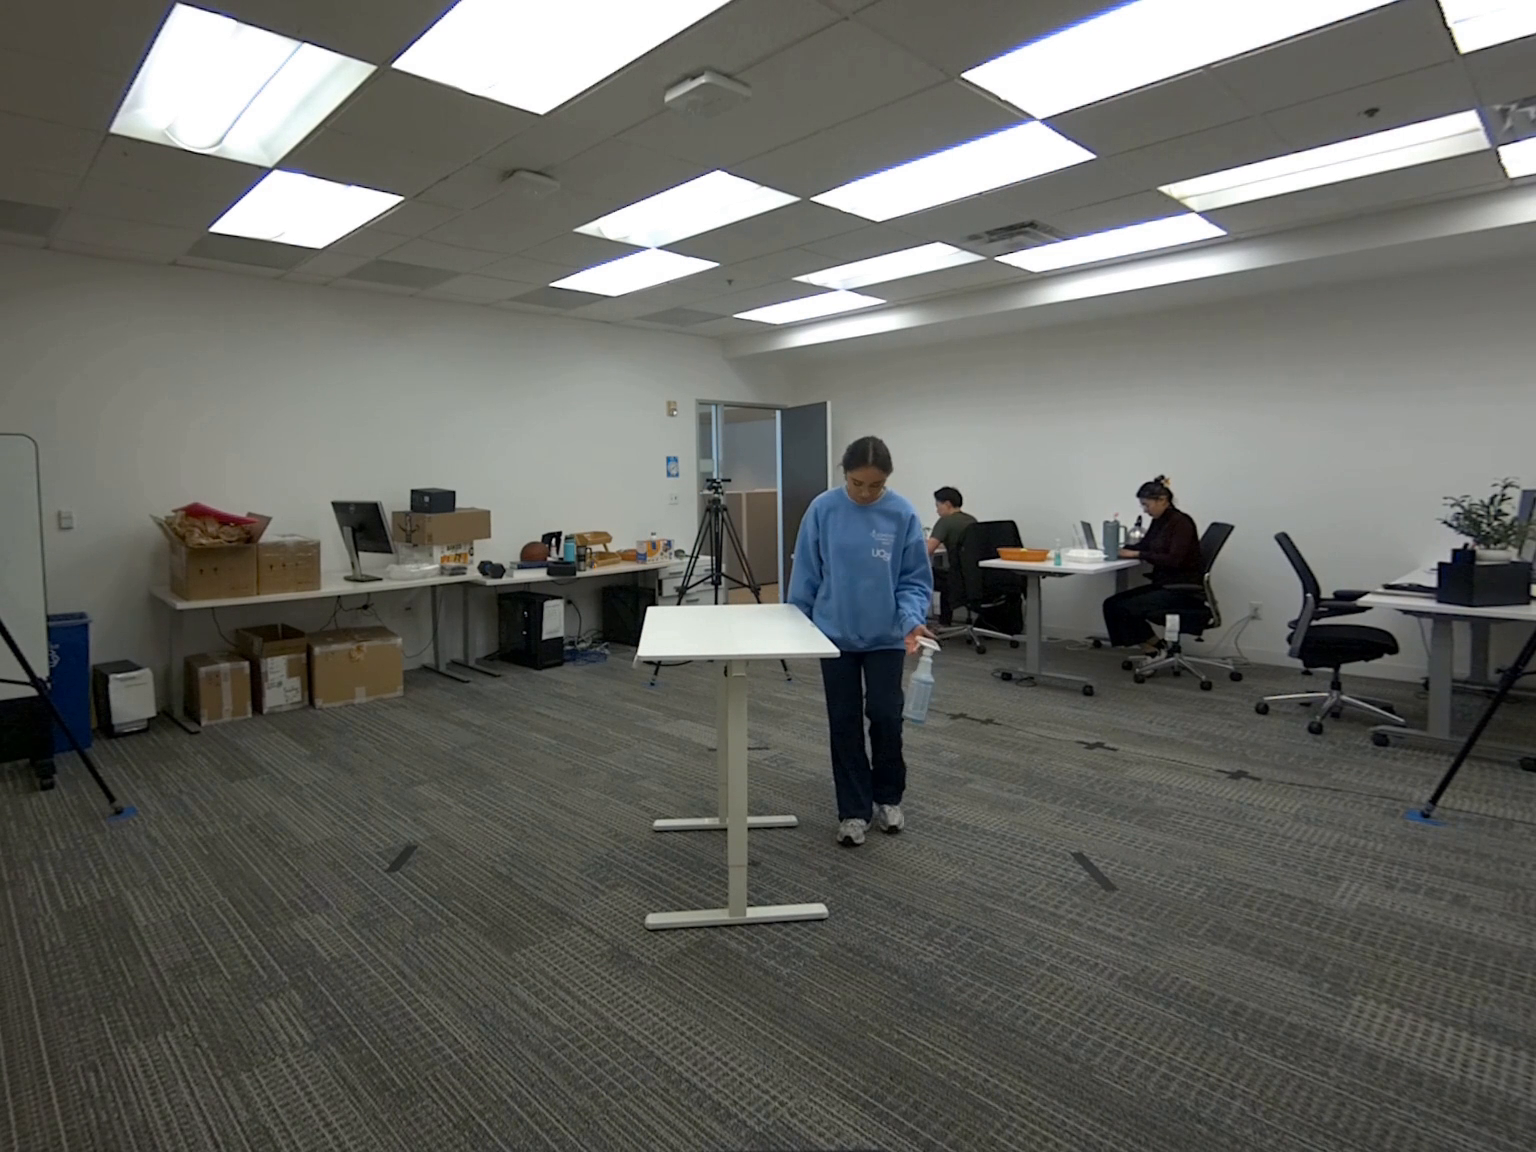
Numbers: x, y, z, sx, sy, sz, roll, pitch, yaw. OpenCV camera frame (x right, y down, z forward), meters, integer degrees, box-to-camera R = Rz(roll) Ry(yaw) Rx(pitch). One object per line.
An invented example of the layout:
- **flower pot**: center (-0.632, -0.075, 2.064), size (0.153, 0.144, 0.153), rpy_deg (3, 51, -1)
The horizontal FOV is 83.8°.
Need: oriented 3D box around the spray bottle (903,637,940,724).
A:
- **spray bottle**: center (0.542, 0.378, 3.055), size (0.093, 0.297, 0.084), rpy_deg (10, 2, 32)
